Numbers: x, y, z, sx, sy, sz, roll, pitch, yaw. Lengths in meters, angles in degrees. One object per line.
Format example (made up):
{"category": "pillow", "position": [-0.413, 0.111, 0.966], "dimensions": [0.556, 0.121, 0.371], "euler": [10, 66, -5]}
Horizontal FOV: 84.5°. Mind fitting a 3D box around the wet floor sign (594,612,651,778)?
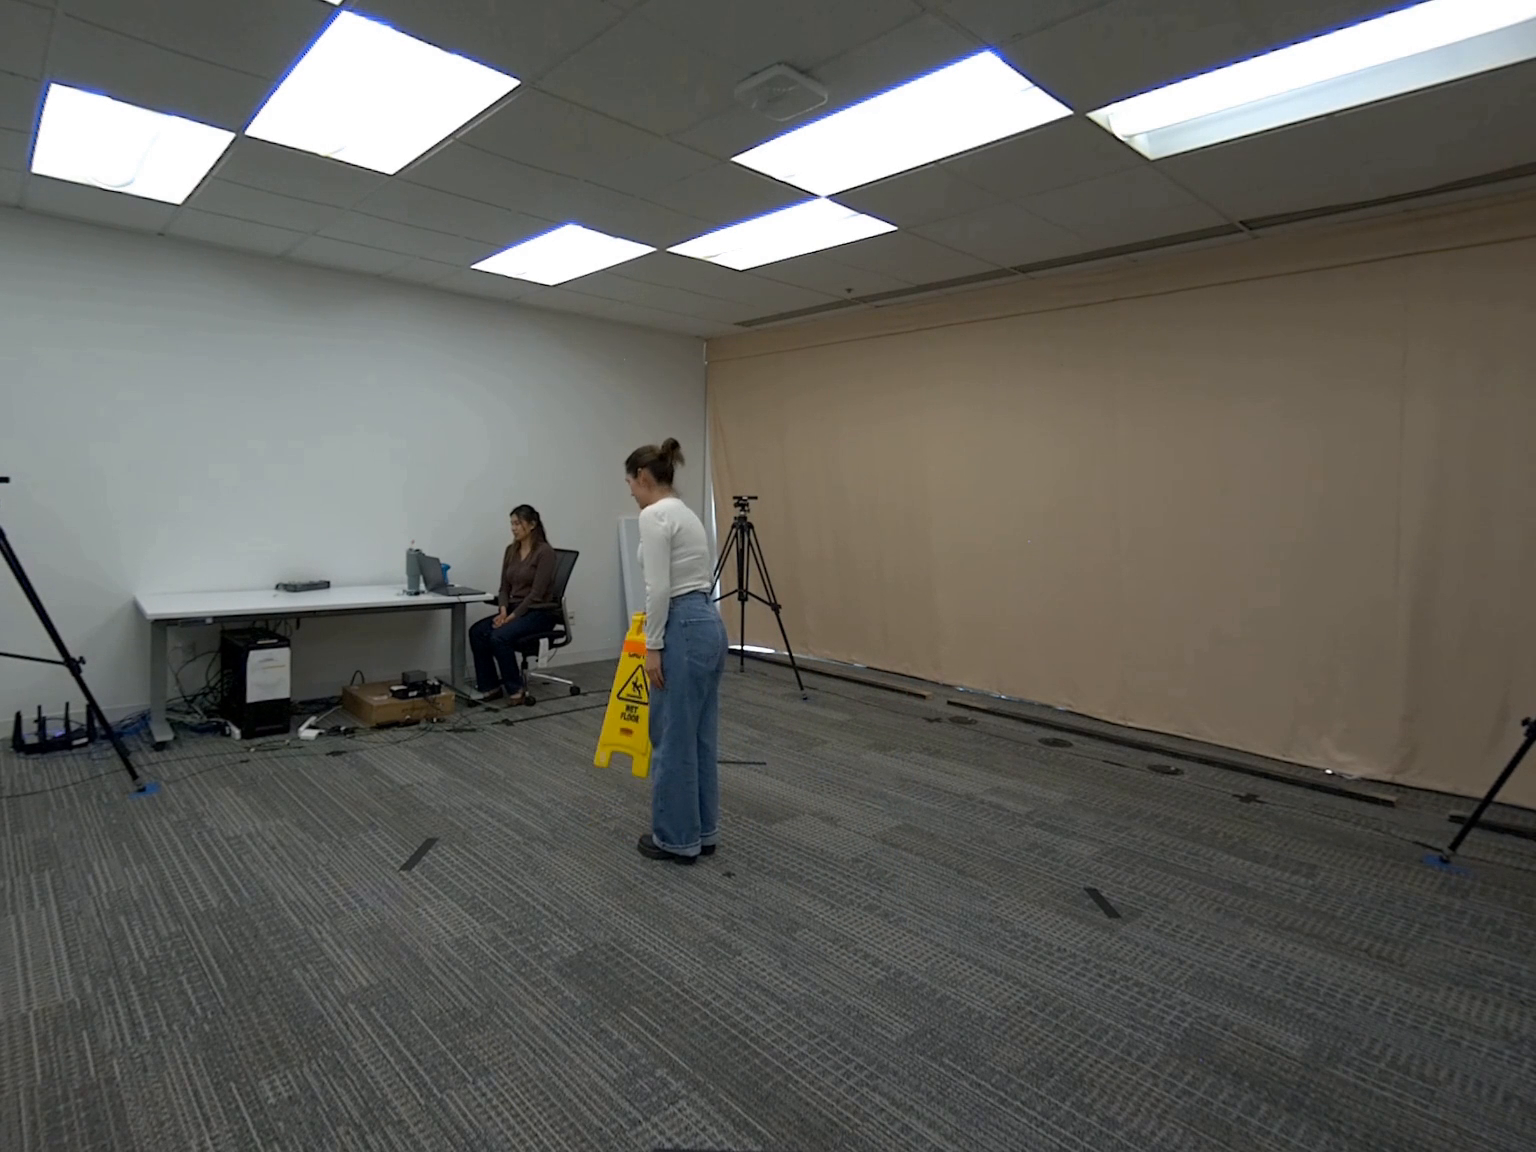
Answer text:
{"category": "wet floor sign", "position": [-0.525, 0.493, 3.592], "dimensions": [0.288, 0.646, 0.283], "euler": [5, 0, 29]}
